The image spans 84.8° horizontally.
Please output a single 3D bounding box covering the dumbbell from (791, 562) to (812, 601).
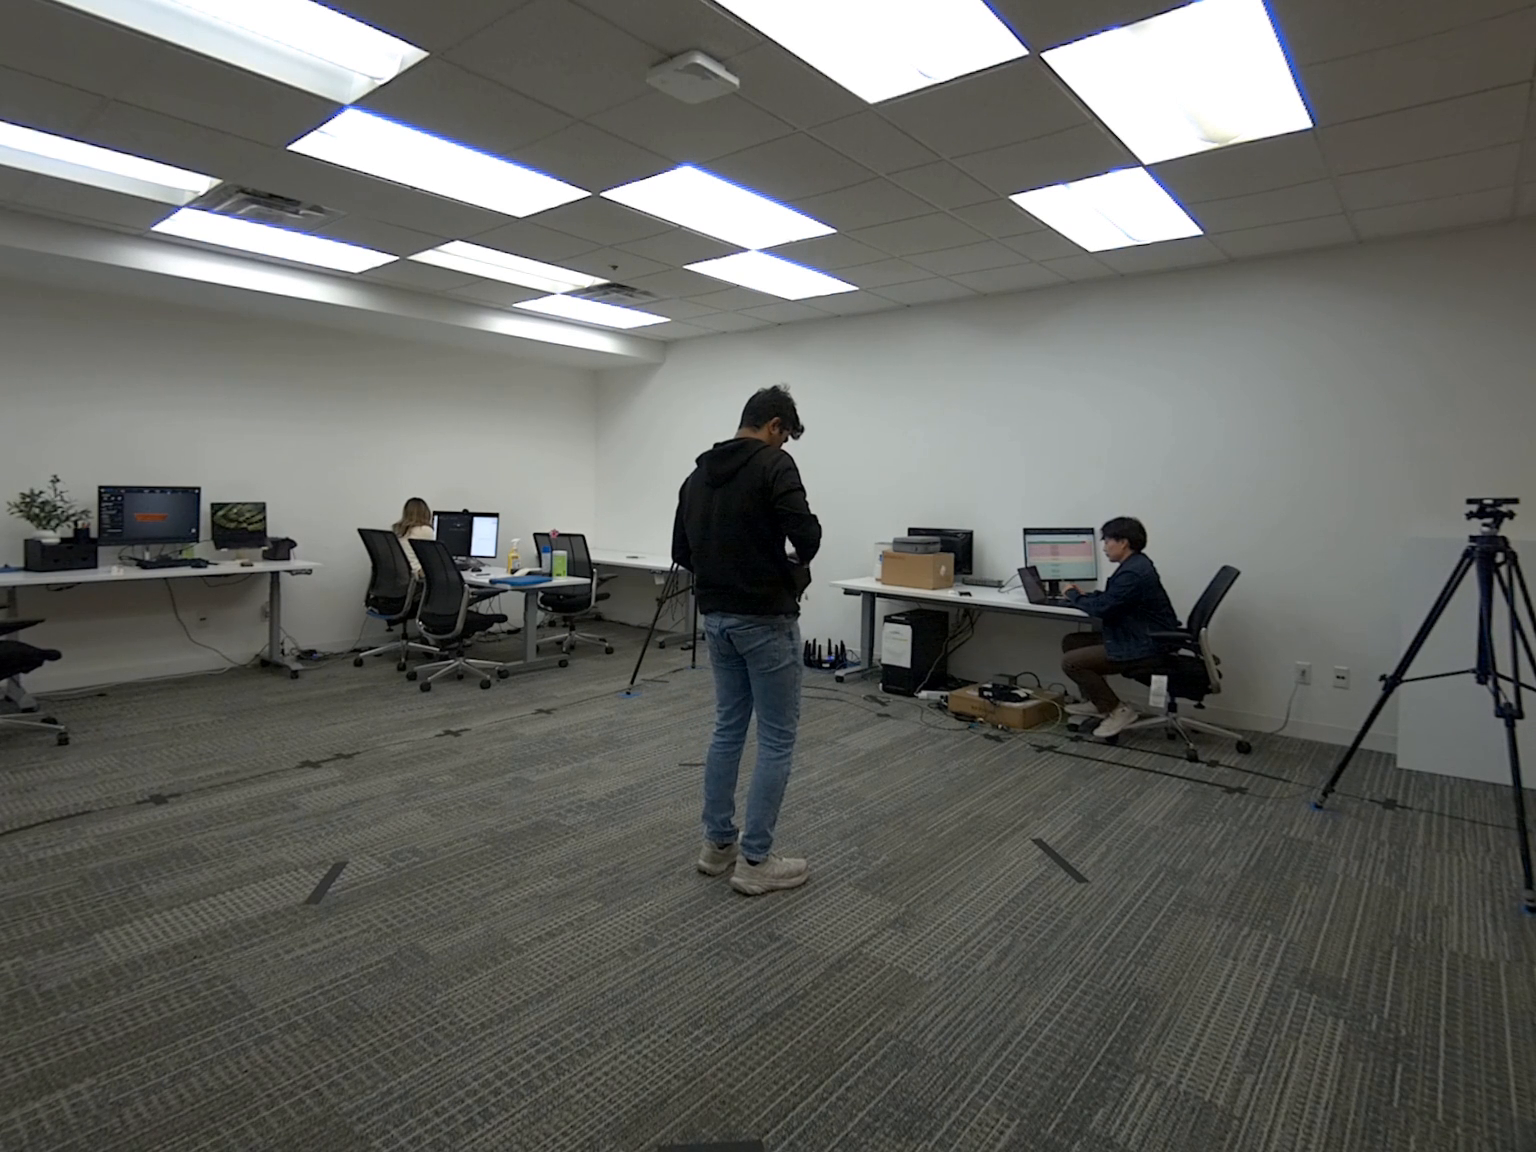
[{"bbox_3d":[0.022,-0.023,3.107,0.107,0.120,0.305,-21,26,-23],"label":"dumbbell"}]
